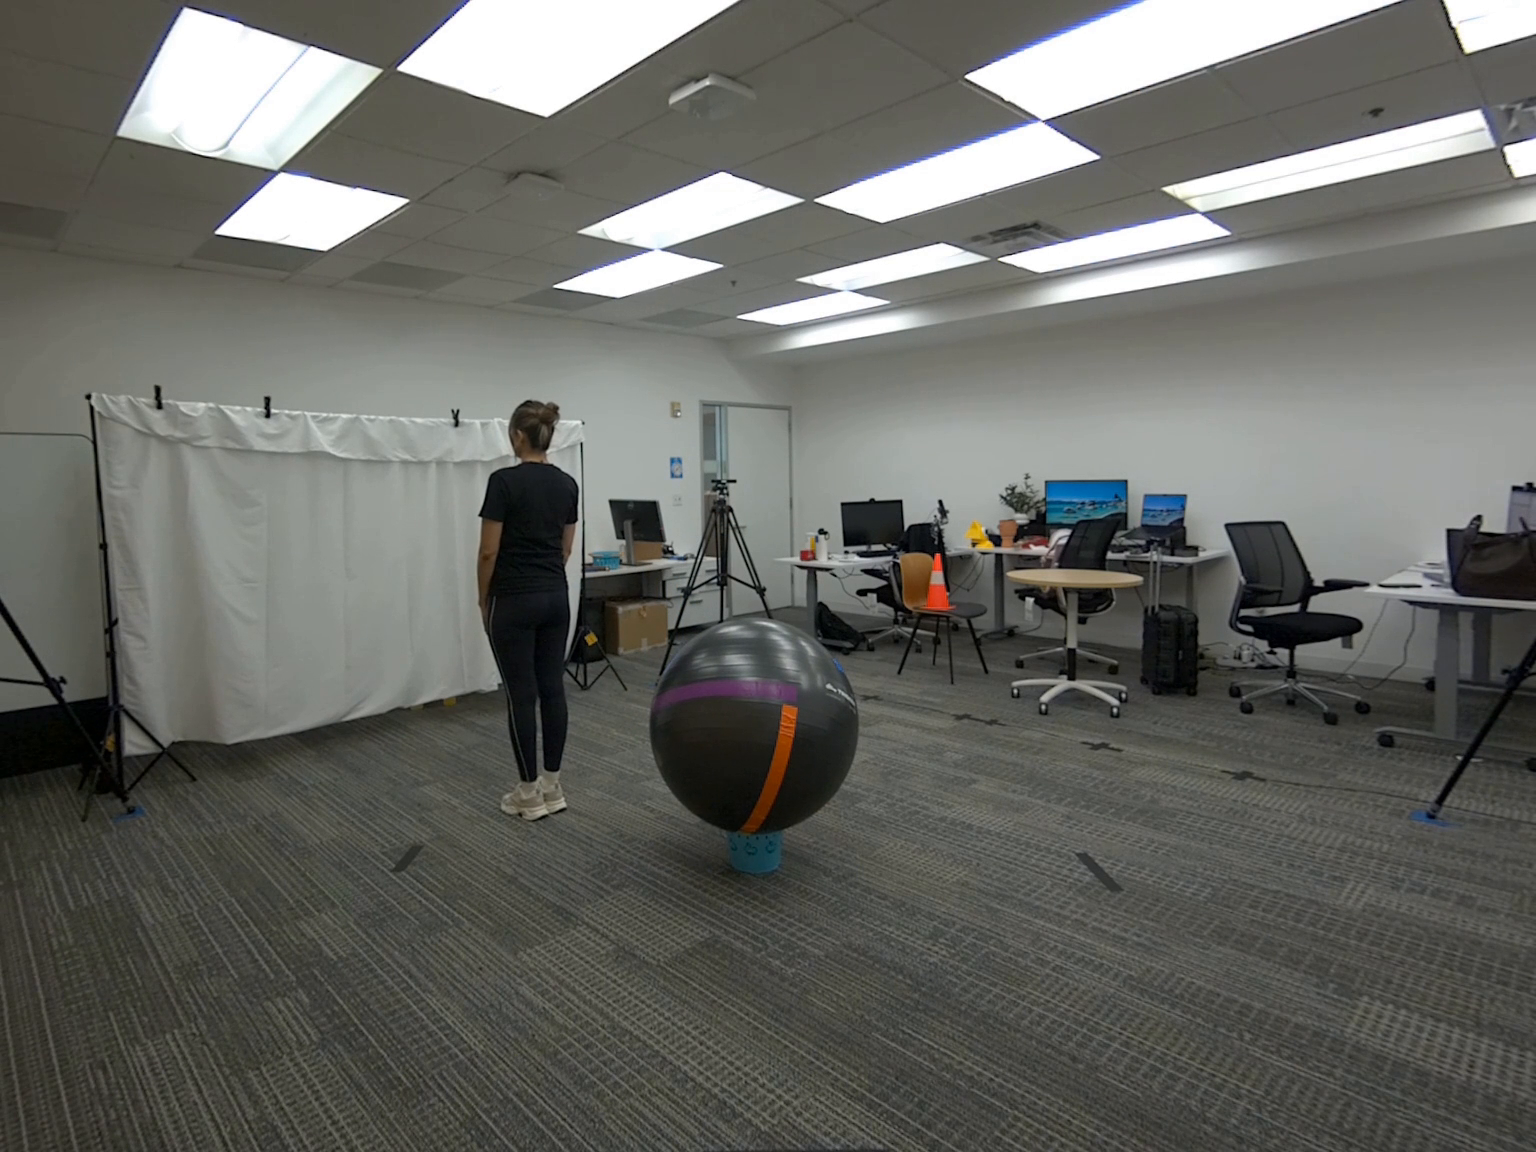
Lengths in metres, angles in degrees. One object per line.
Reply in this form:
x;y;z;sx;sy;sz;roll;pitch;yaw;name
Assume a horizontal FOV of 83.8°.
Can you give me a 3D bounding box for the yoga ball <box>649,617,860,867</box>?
-0.051;0.538;3.103;0.757;0.755;0.762;-1;5;-2;yoga ball
